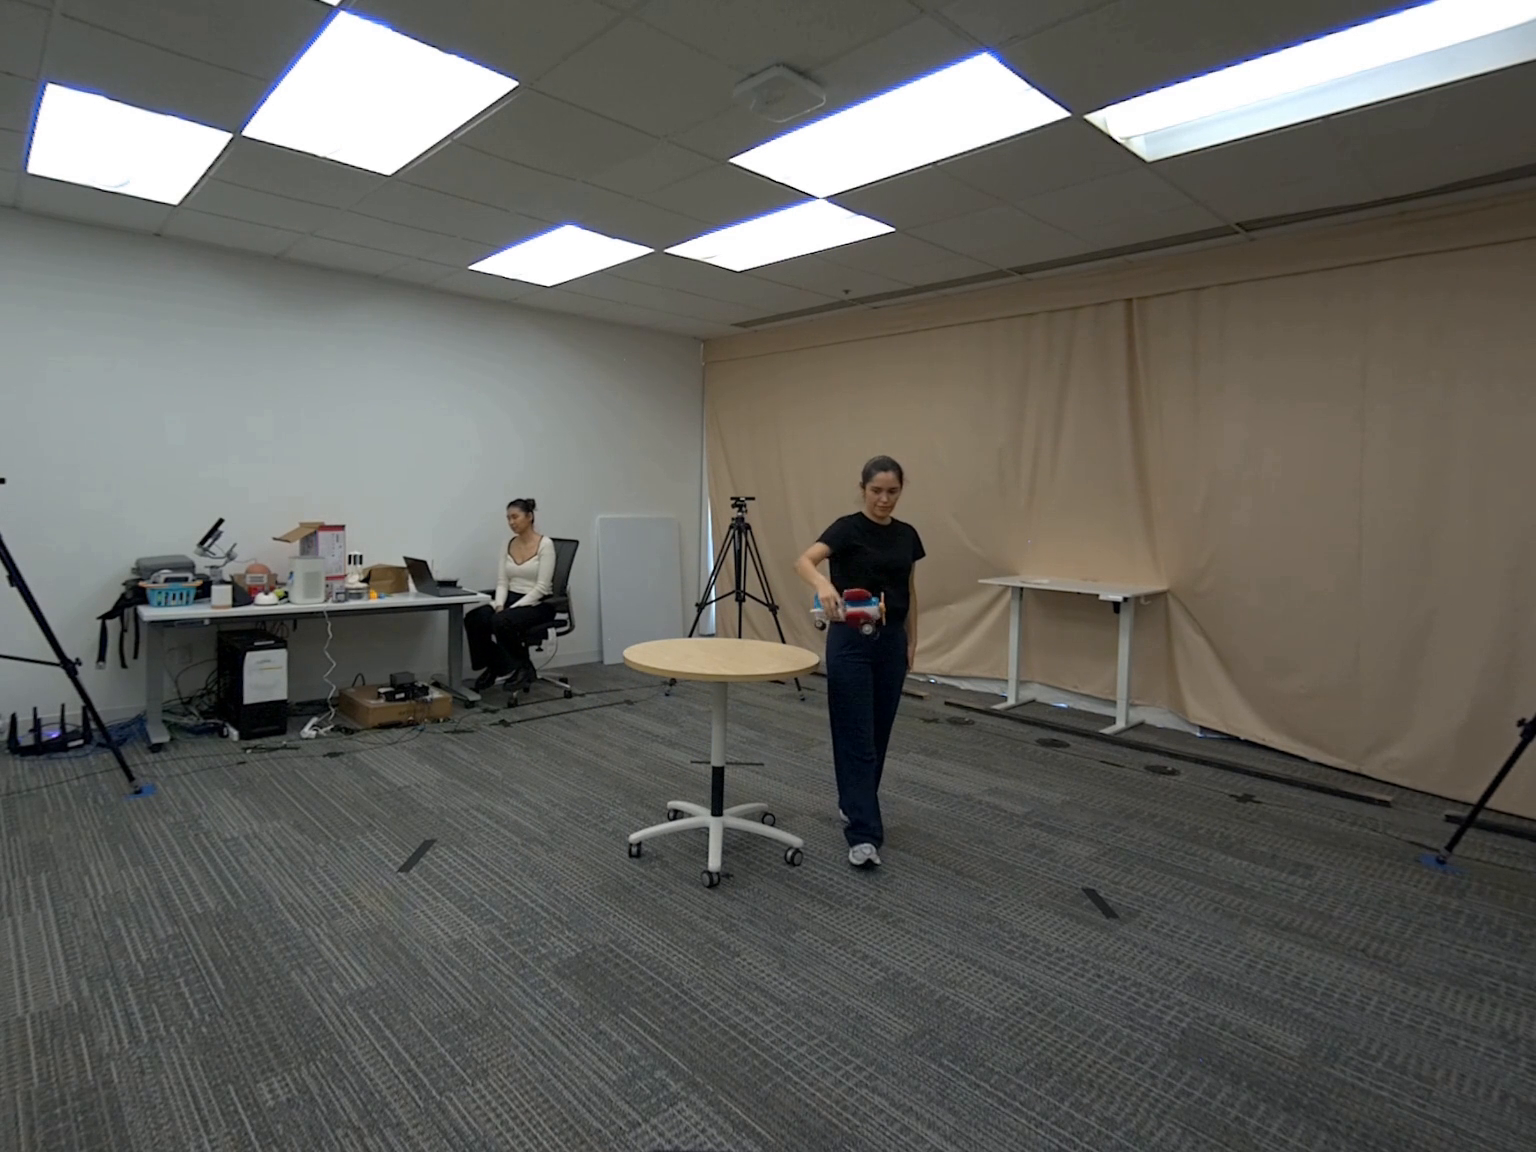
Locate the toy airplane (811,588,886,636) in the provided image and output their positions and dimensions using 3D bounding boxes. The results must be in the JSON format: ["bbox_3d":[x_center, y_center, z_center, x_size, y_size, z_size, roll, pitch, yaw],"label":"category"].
[{"bbox_3d":[0.269,0.118,2.992,0.258,0.157,0.251,16,-10,-6],"label":"toy airplane"}]
